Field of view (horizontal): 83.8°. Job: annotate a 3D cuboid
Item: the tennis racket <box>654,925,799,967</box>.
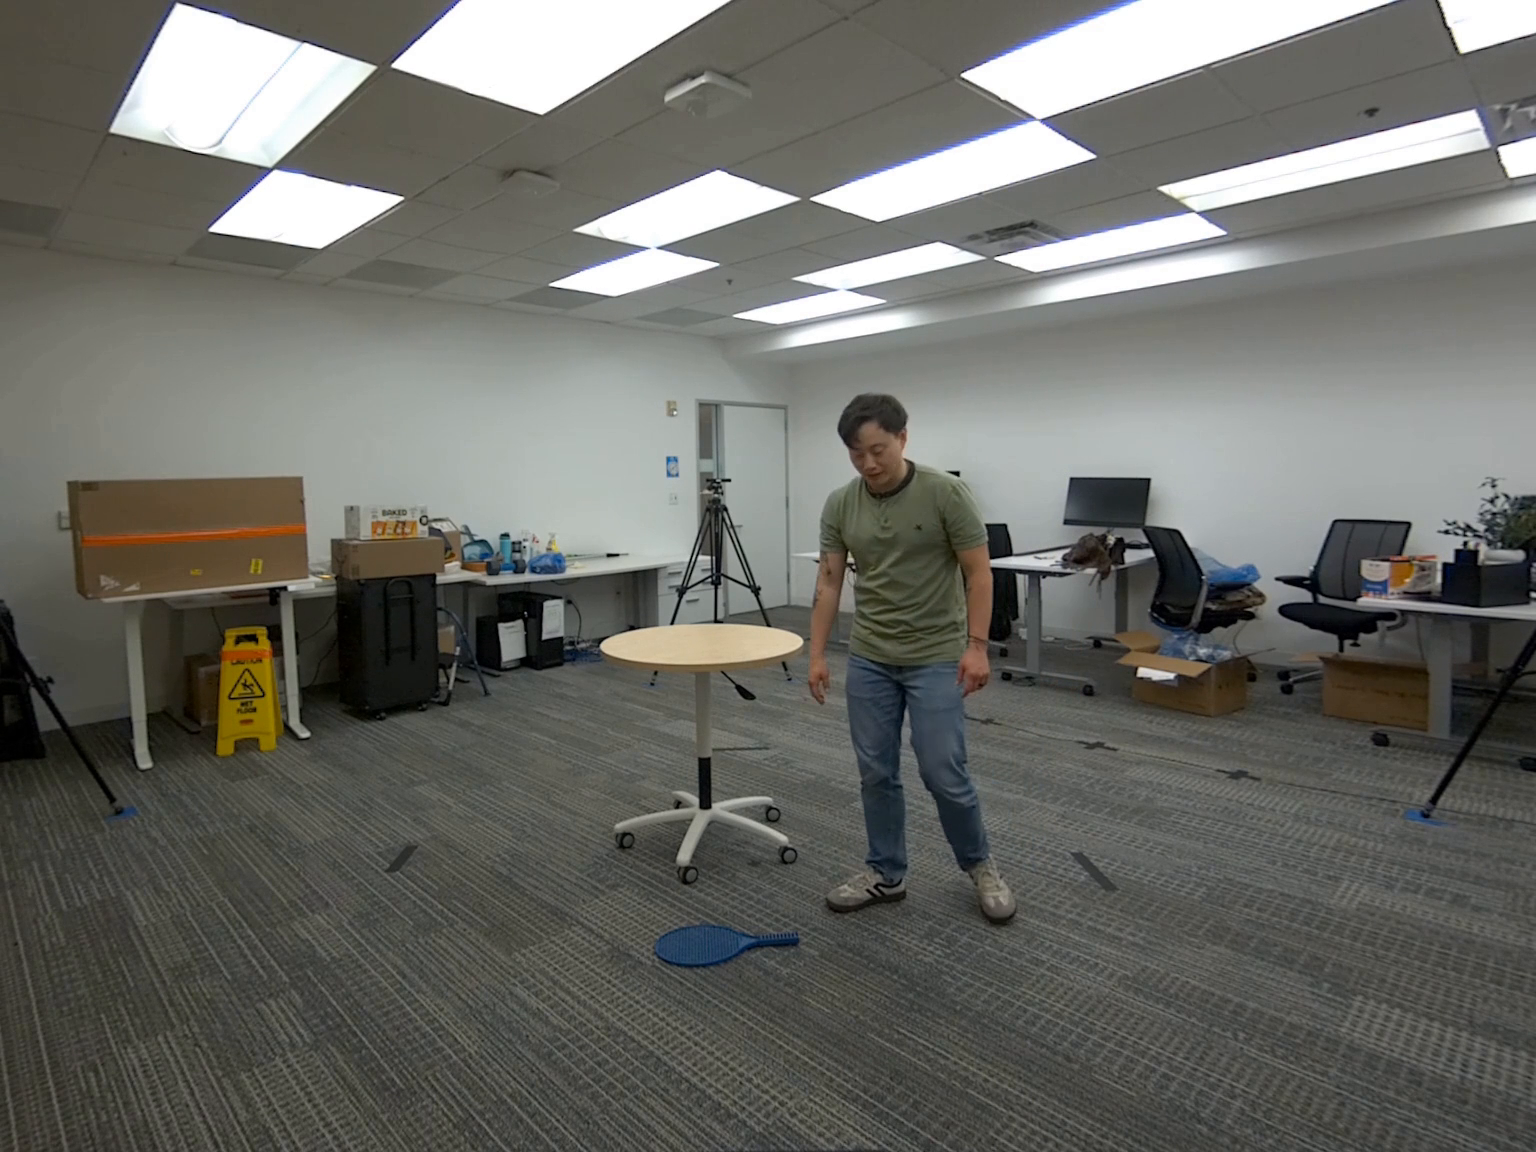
[{"bbox_3d":[-0.116,1.095,2.555,0.433,0.031,0.215,-2,8,-1],"label":"tennis racket"}]
